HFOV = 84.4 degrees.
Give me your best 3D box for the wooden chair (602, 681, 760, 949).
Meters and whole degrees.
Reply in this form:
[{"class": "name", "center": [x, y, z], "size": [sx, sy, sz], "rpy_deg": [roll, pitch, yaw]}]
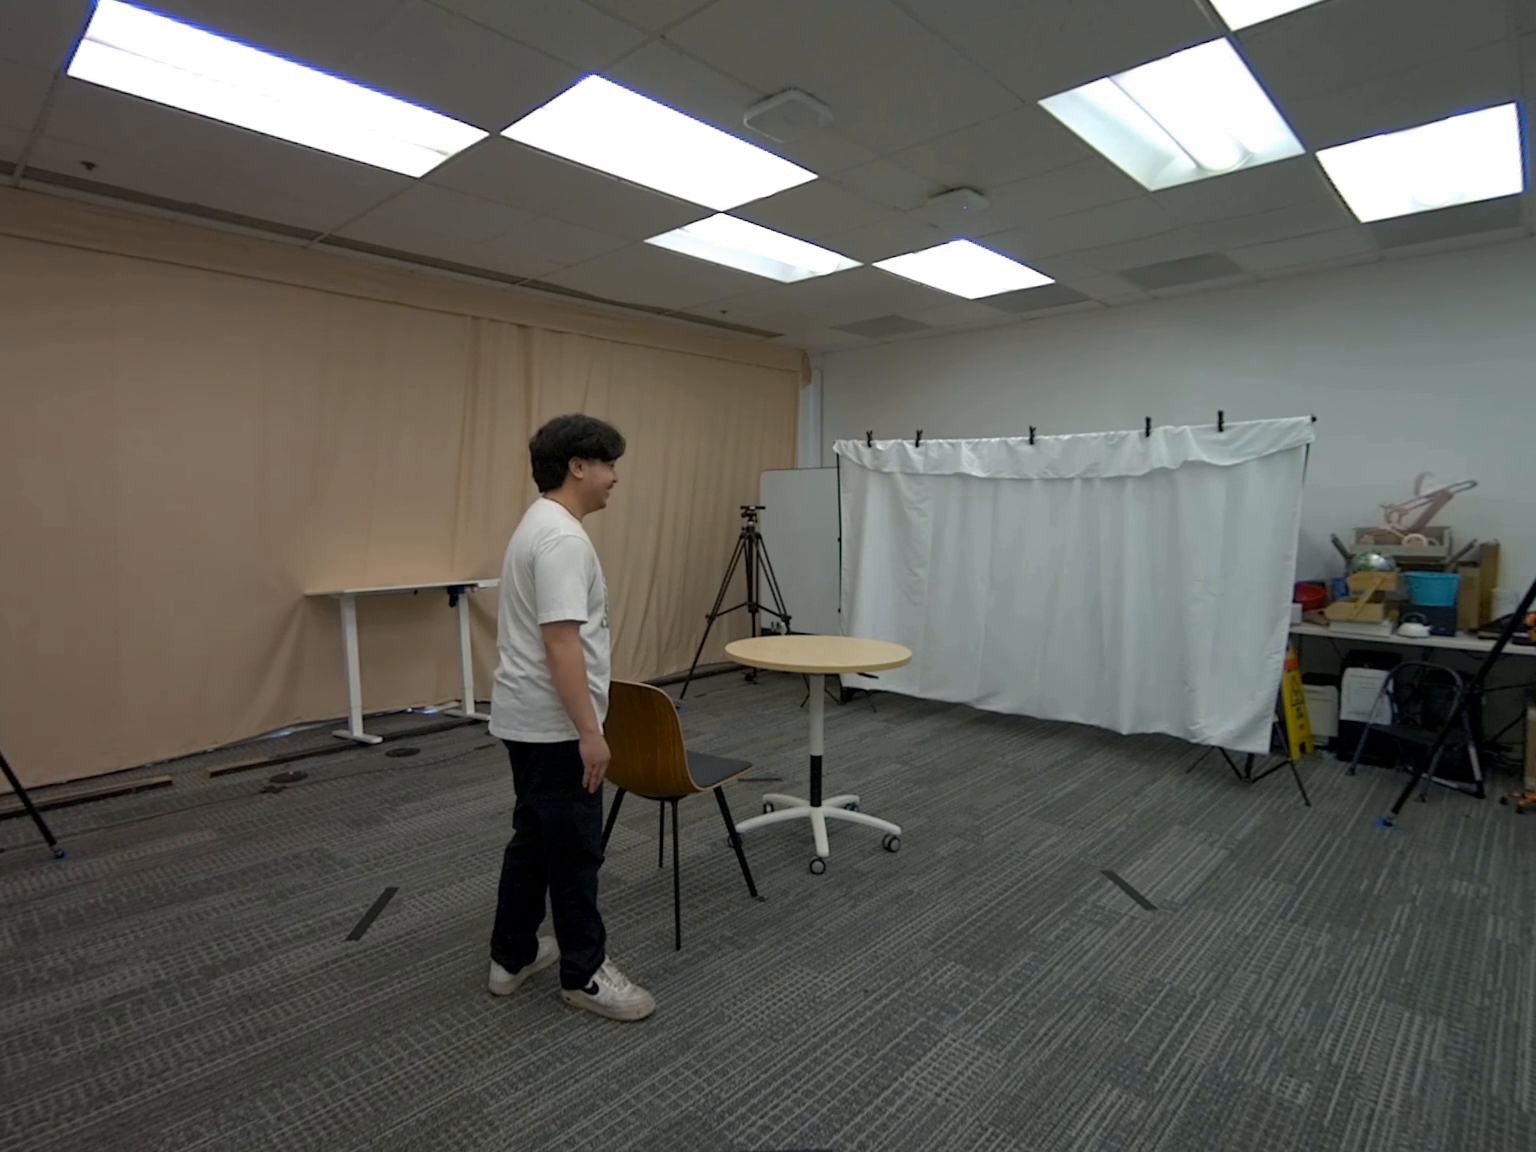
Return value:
[{"class": "wooden chair", "center": [-0.340, 0.722, 2.927], "size": [0.493, 0.873, 0.509], "rpy_deg": [1, 8, 35]}]
